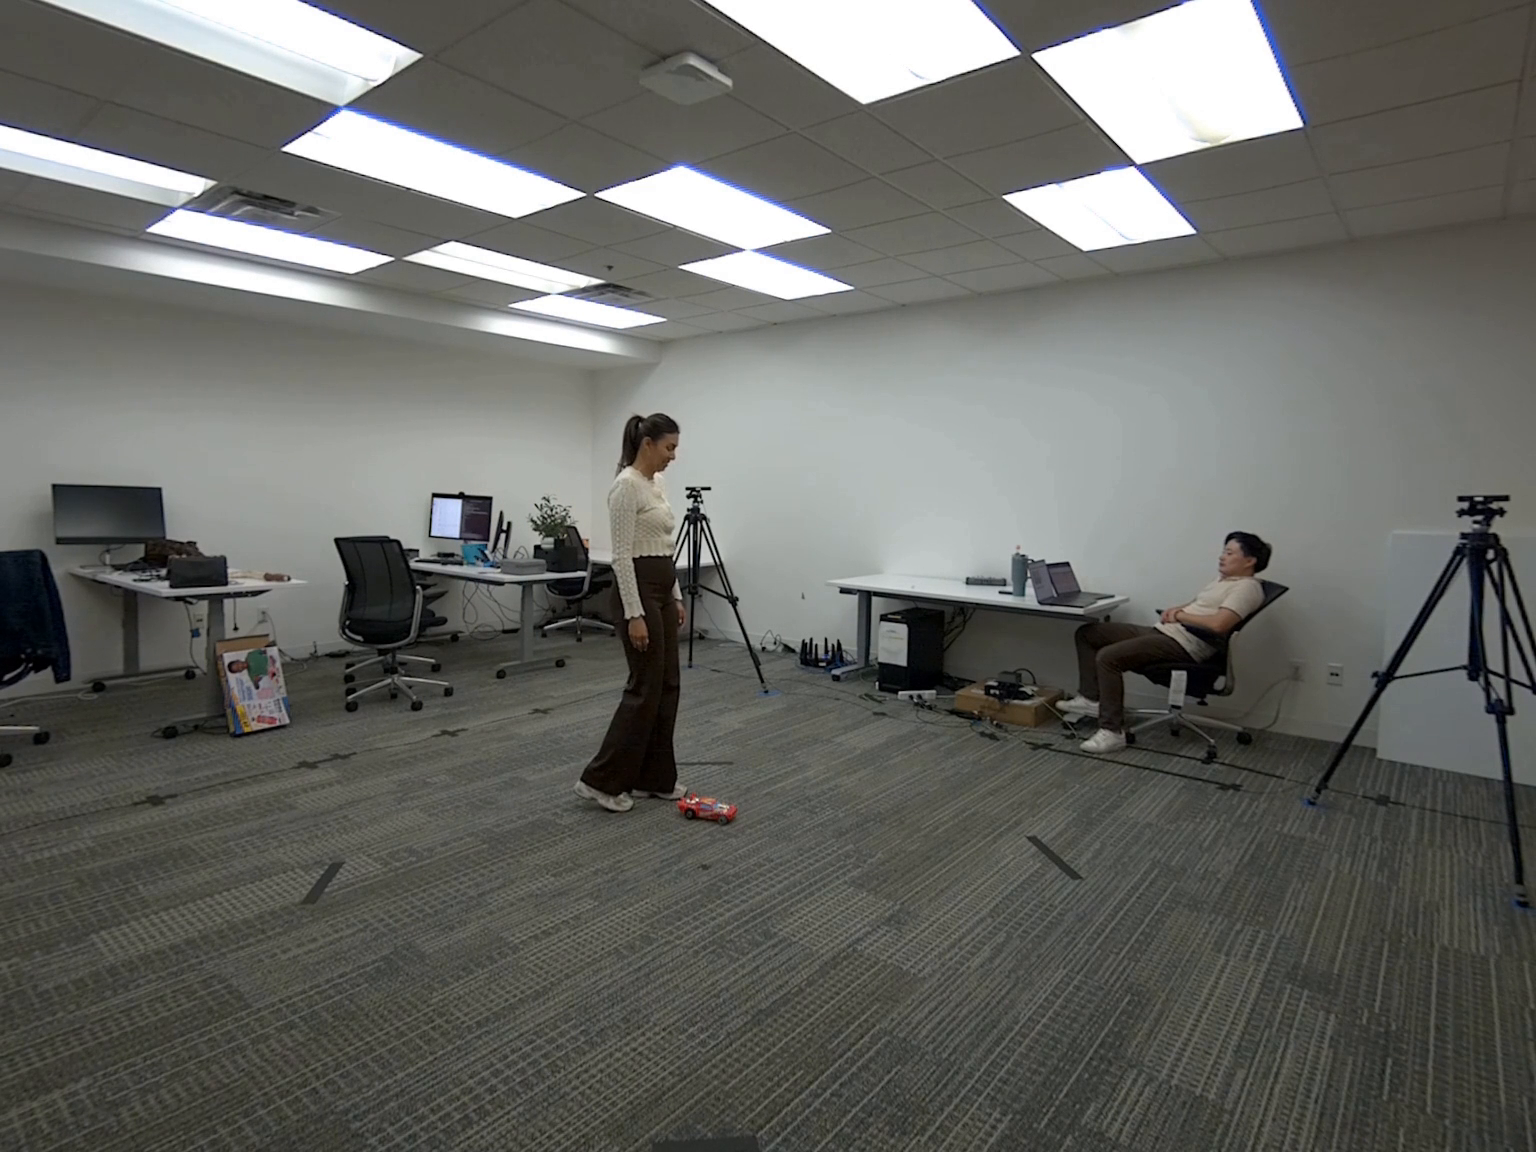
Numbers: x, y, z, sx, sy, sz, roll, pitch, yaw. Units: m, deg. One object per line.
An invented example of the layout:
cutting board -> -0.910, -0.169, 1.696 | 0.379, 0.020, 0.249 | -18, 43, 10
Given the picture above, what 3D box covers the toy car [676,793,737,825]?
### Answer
toy car -> -0.273, 0.985, 3.598 | 0.261, 0.083, 0.128 | 14, 8, 19
